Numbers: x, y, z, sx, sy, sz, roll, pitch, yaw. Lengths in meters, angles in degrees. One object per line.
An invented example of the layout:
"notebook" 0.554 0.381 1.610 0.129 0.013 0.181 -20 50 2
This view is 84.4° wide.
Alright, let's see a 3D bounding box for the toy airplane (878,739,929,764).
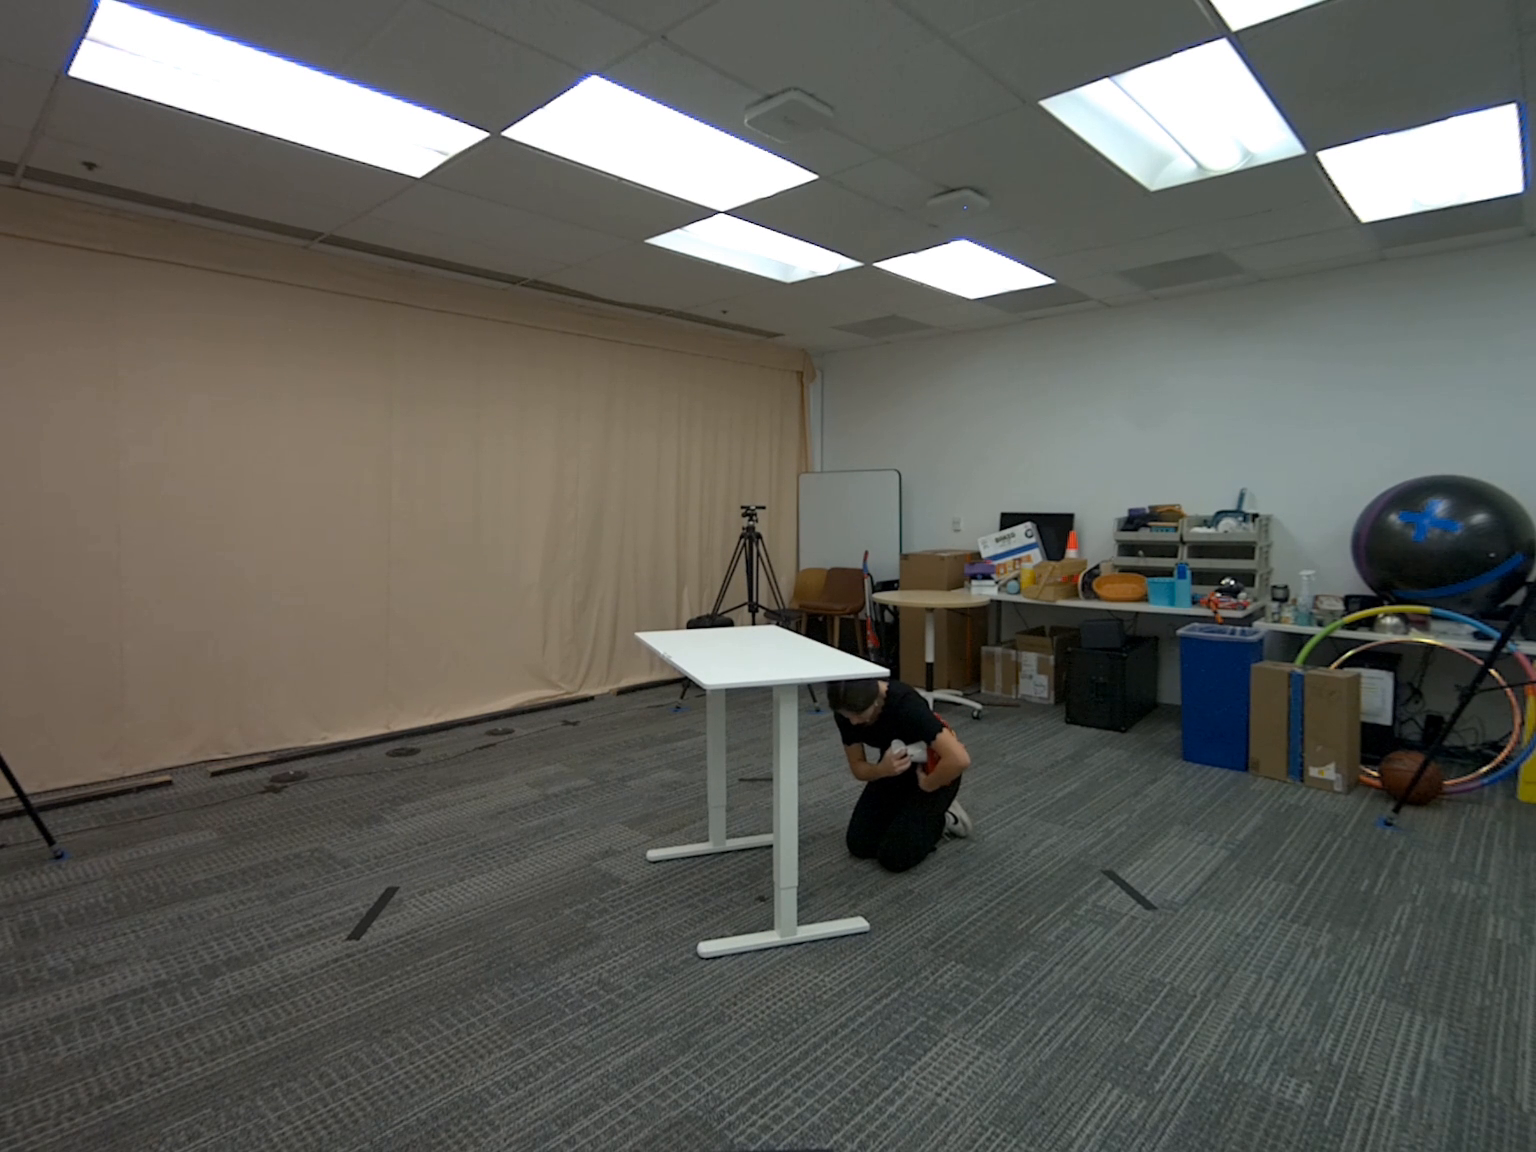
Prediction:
"toy airplane" 0.594 0.636 3.151 0.261 0.251 0.156 27 11 4
